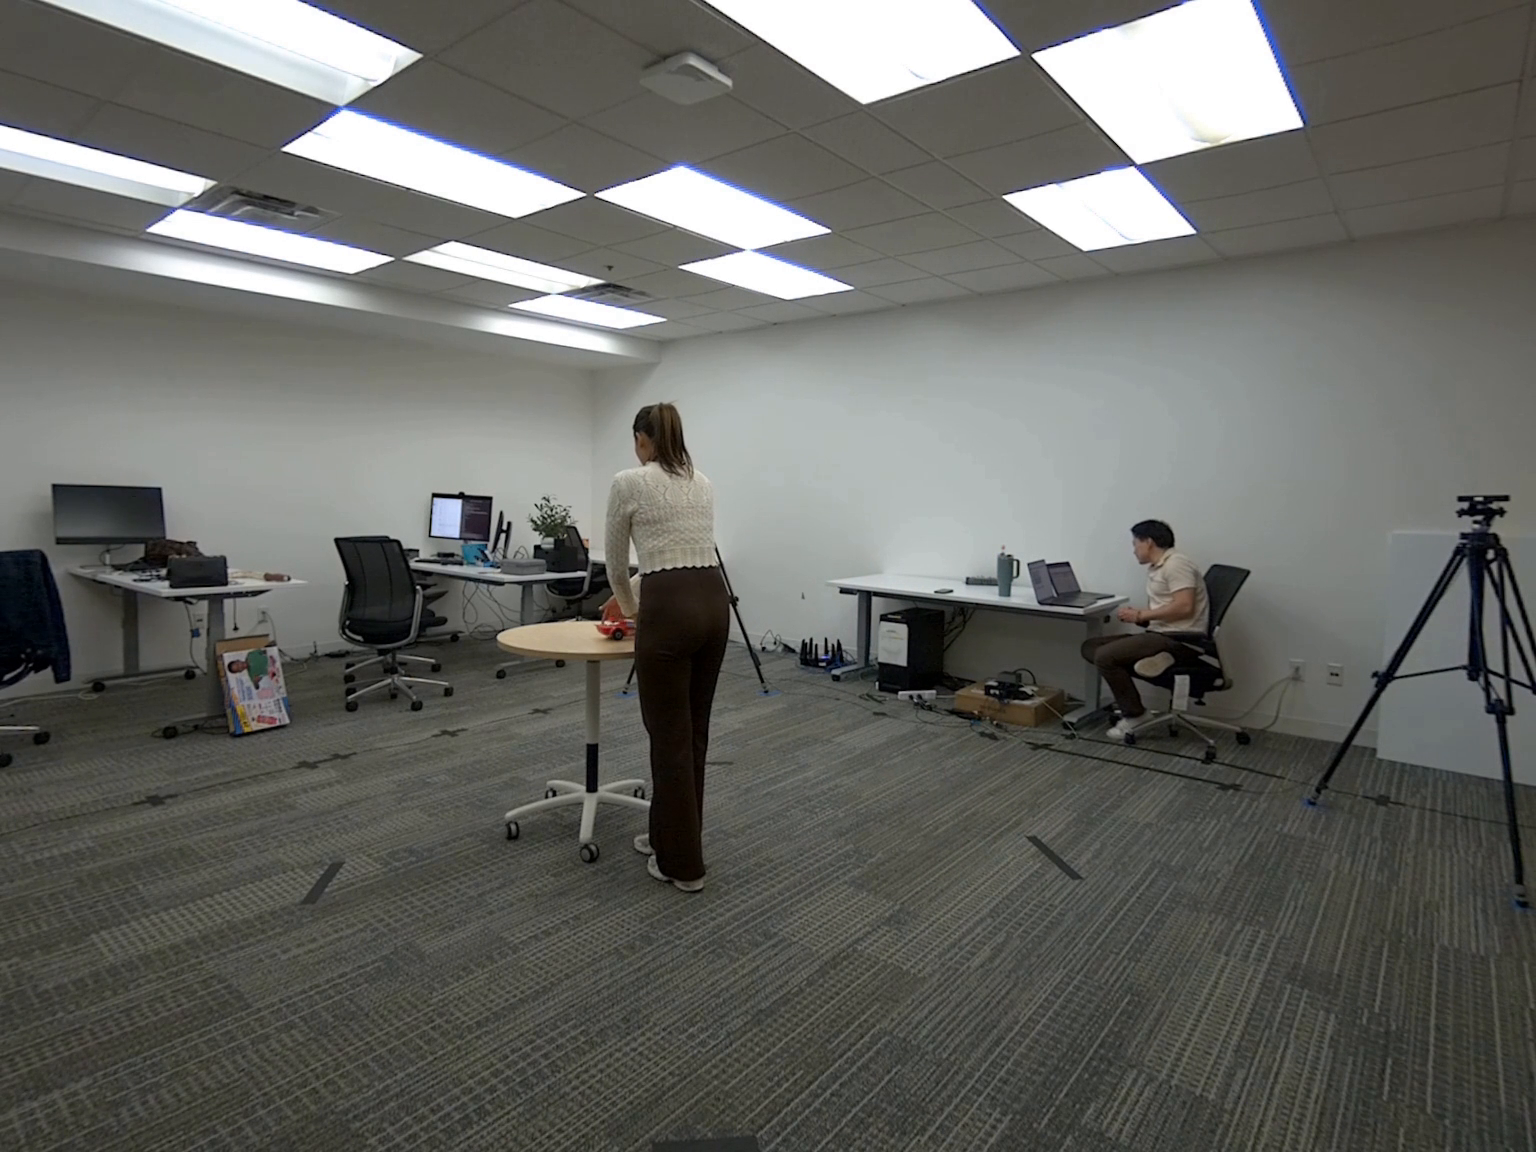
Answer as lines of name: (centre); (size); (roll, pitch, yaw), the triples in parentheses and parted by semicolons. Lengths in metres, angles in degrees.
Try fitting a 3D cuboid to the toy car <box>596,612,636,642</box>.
toy car: (-0.588, 0.216, 3.417); (0.247, 0.083, 0.134); (10, 0, -26)
